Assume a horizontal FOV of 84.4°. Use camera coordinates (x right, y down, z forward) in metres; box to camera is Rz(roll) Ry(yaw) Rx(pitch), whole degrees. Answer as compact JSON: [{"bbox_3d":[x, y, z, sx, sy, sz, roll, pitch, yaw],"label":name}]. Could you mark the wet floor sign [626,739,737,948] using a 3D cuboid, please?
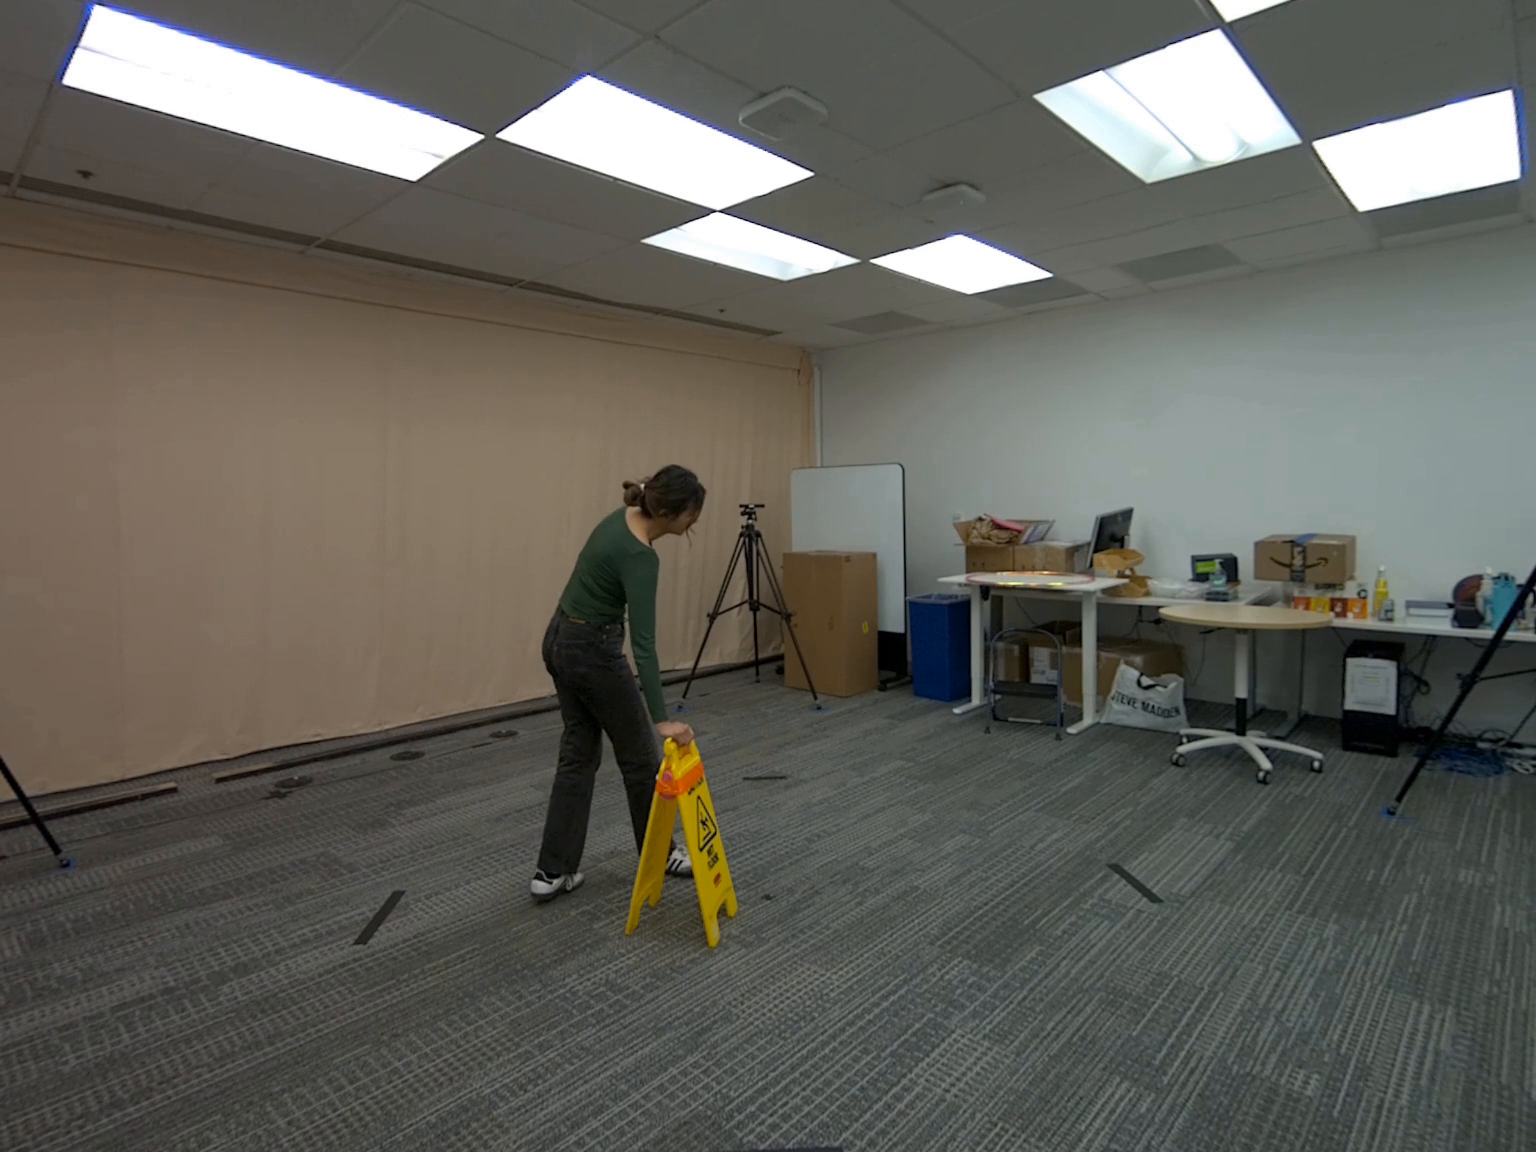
[{"bbox_3d":[-0.284,0.838,2.802,0.295,0.644,0.278,1,5,17],"label":"wet floor sign"}]
